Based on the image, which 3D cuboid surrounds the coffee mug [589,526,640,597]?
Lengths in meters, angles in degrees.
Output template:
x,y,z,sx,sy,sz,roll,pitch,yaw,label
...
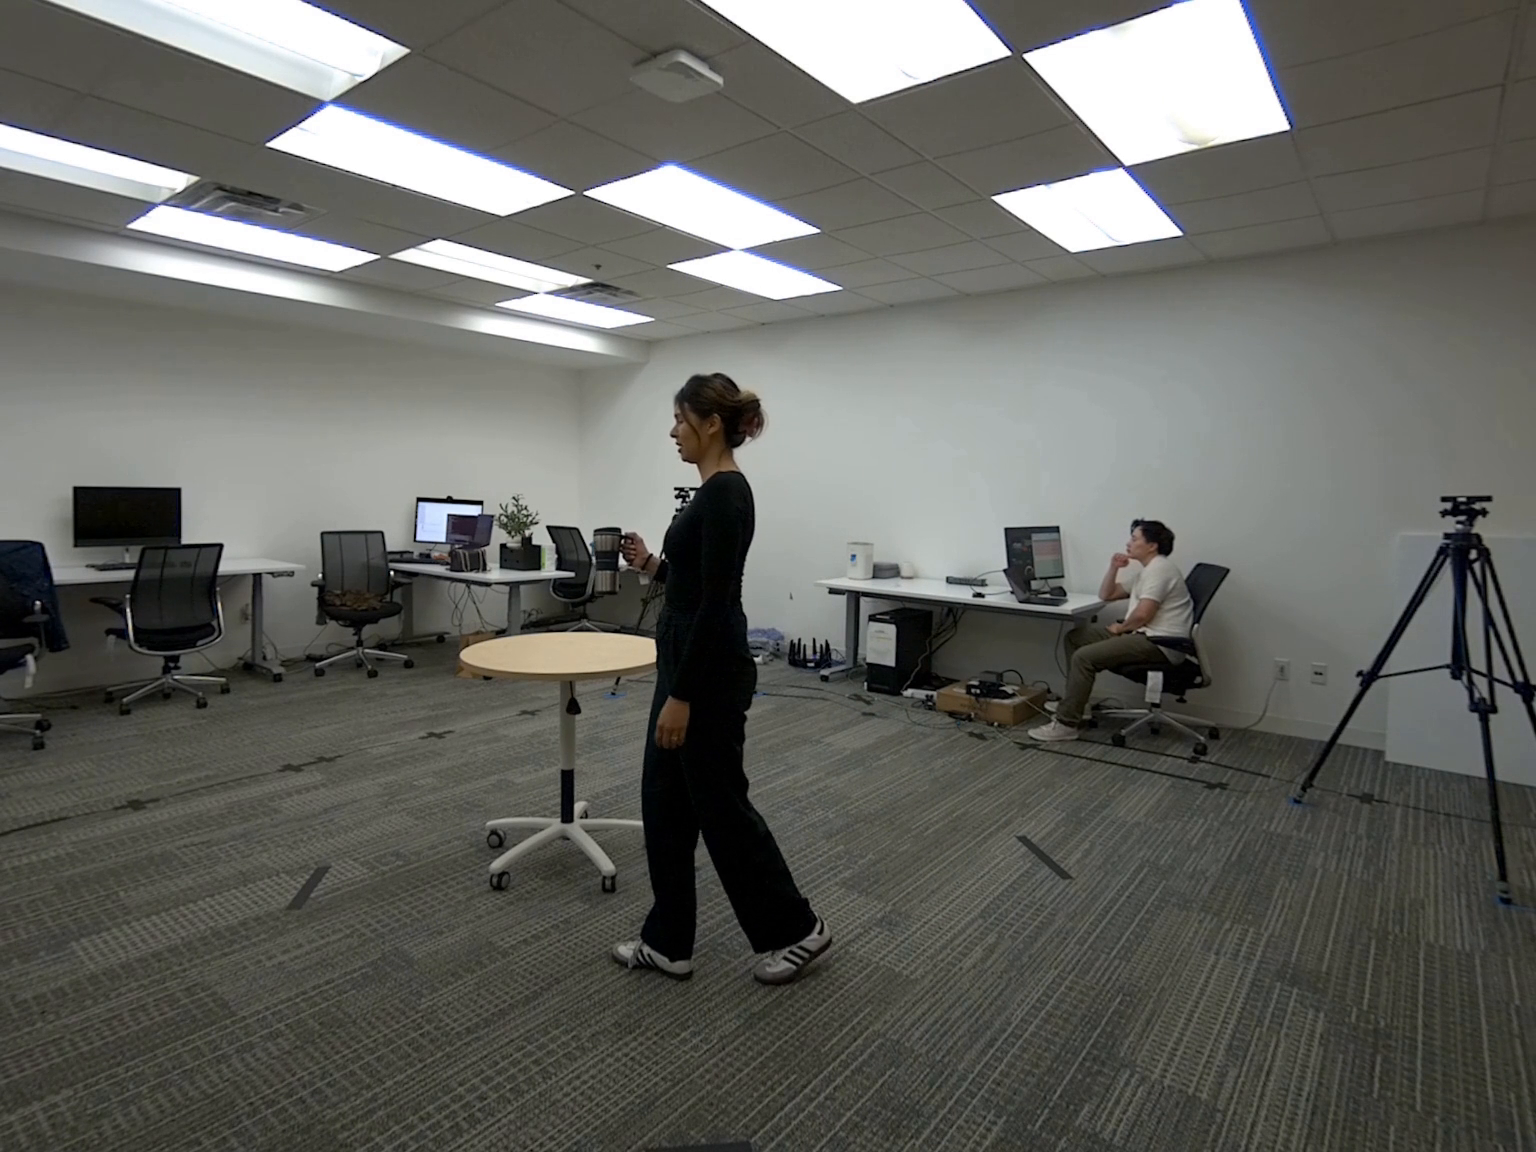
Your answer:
x,y,z,sx,sy,sz,roll,pitch,yaw,label
-0.472,-0.044,2.574,0.124,0.204,0.085,-5,-7,21,coffee mug
